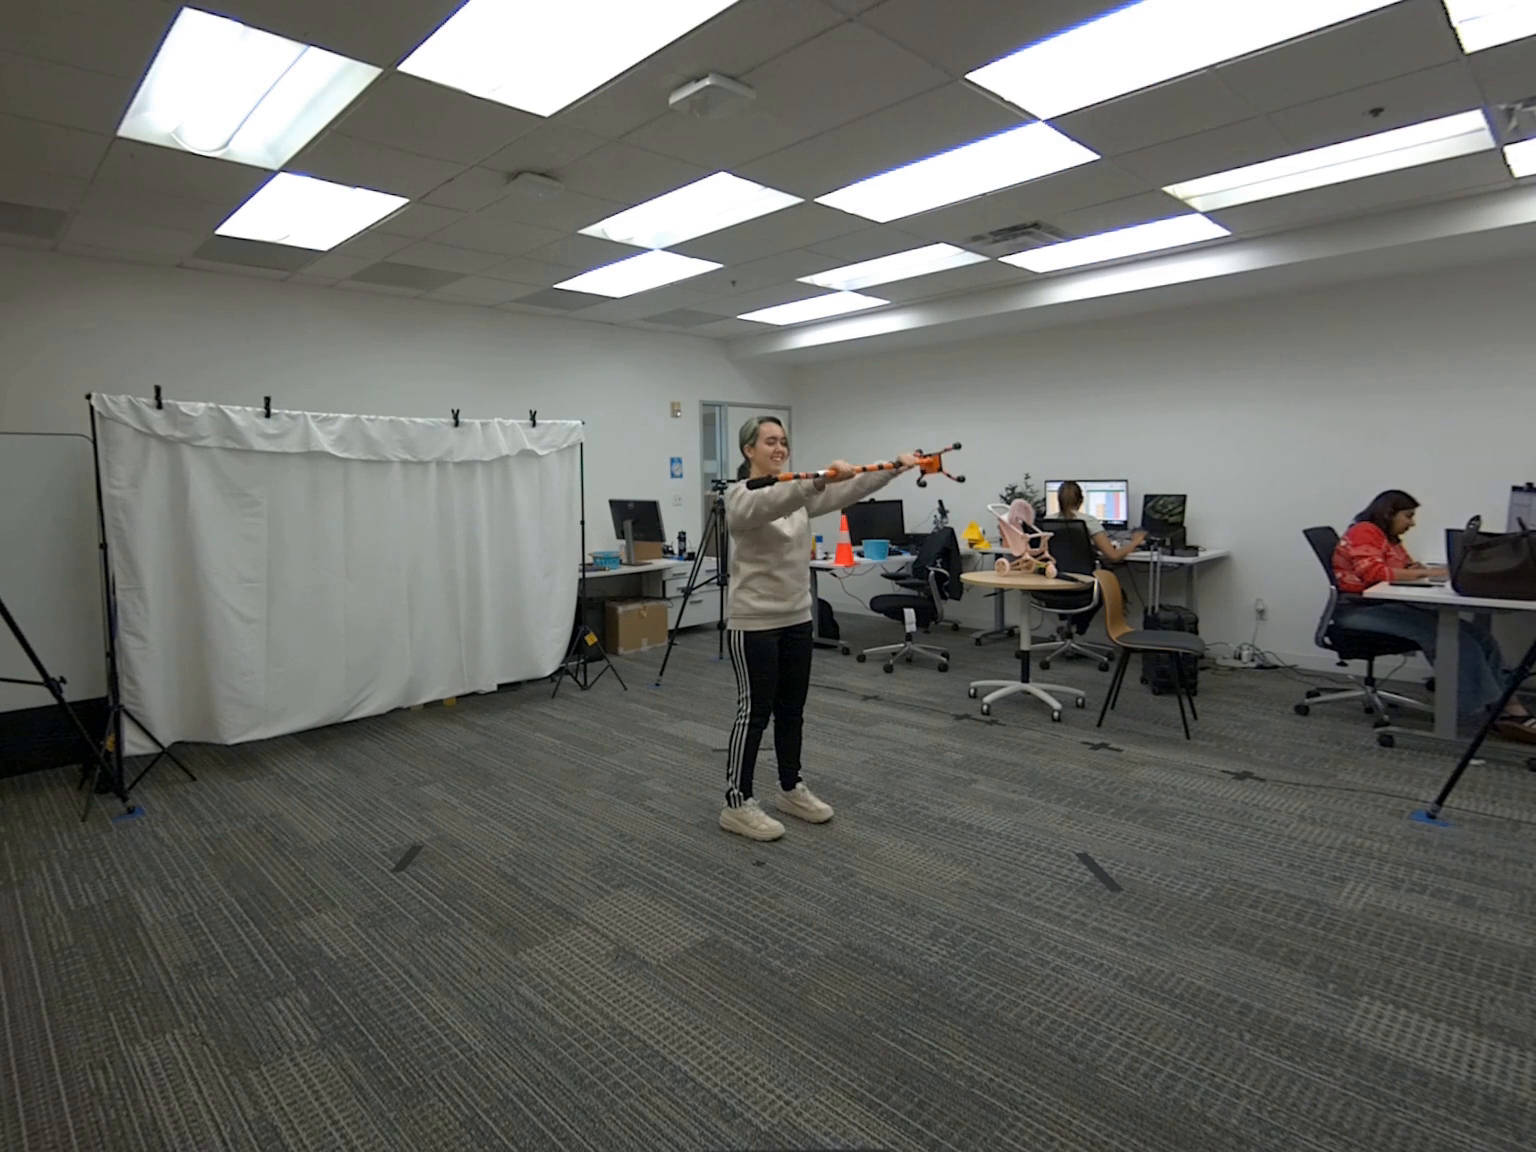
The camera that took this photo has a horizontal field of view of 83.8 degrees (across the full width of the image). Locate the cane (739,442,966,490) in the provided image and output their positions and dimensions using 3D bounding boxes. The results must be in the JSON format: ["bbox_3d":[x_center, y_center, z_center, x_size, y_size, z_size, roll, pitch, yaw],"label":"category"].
[{"bbox_3d":[0.321,-0.349,2.960,0.887,0.151,0.212,-12,5,-40],"label":"cane"}]
